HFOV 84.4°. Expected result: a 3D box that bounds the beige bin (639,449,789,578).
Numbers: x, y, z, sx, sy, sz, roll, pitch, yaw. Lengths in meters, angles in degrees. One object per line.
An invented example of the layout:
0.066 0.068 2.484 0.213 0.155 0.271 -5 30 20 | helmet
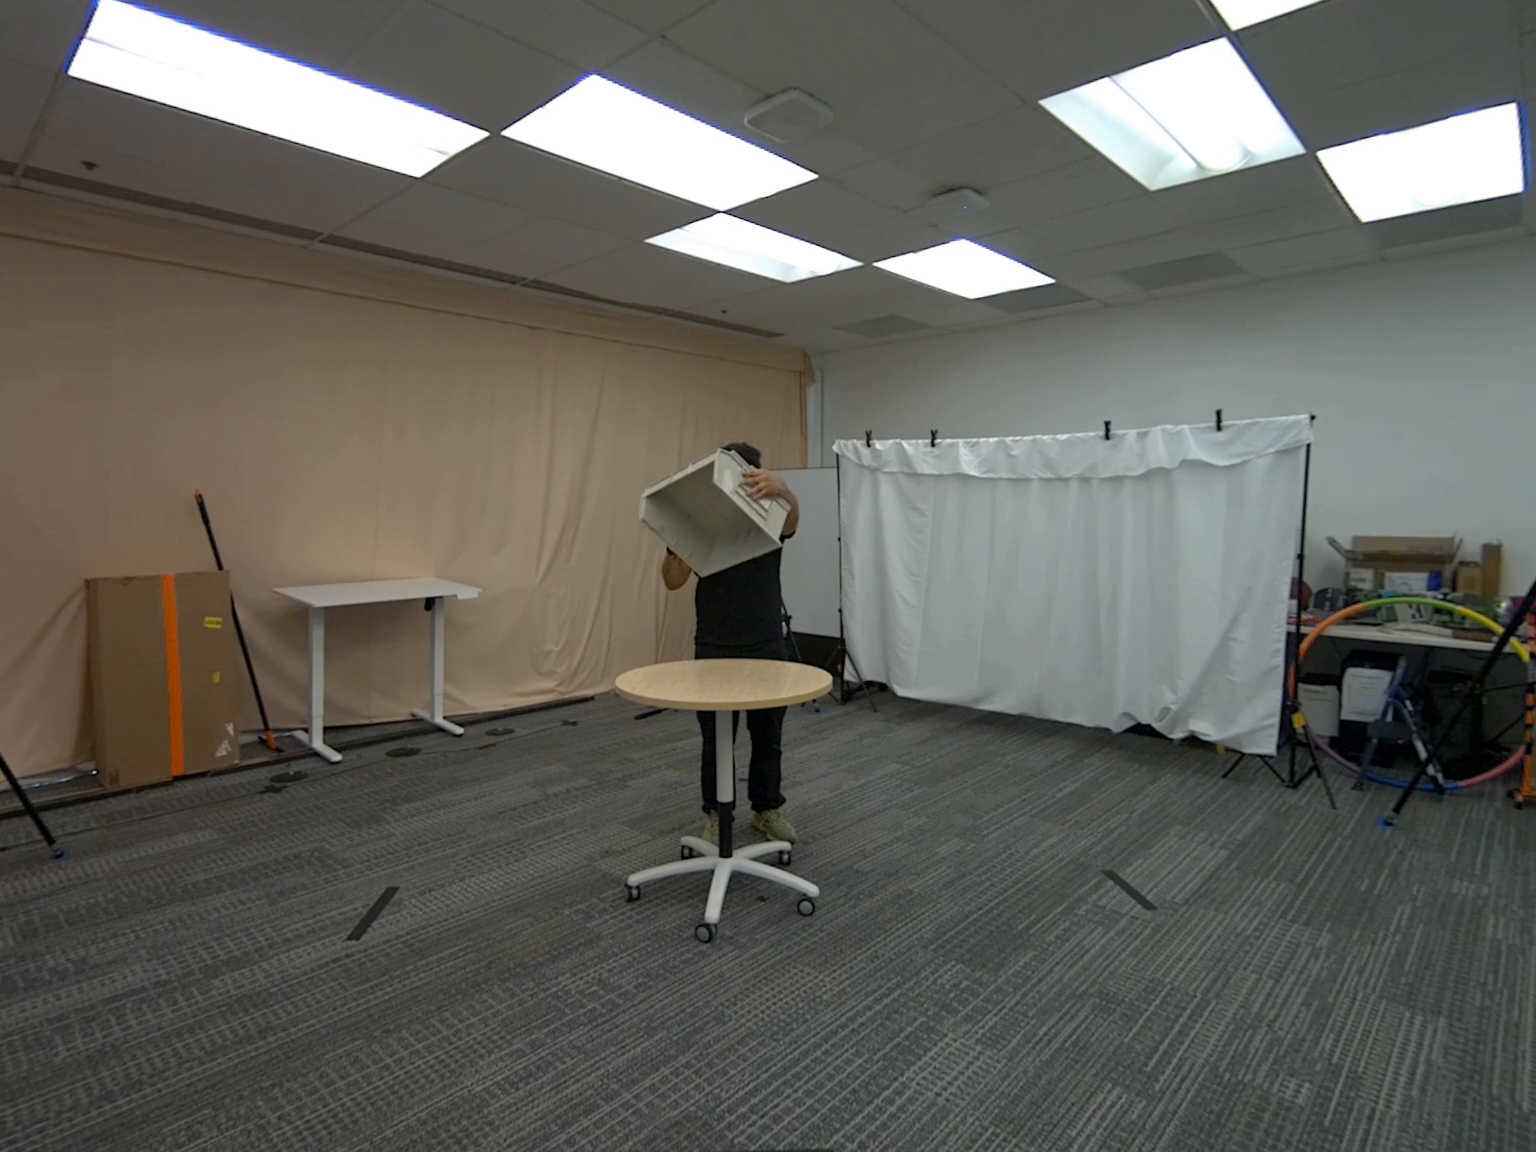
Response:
-0.198 -0.226 3.040 0.432 0.190 0.367 -22 -54 42 | beige bin
